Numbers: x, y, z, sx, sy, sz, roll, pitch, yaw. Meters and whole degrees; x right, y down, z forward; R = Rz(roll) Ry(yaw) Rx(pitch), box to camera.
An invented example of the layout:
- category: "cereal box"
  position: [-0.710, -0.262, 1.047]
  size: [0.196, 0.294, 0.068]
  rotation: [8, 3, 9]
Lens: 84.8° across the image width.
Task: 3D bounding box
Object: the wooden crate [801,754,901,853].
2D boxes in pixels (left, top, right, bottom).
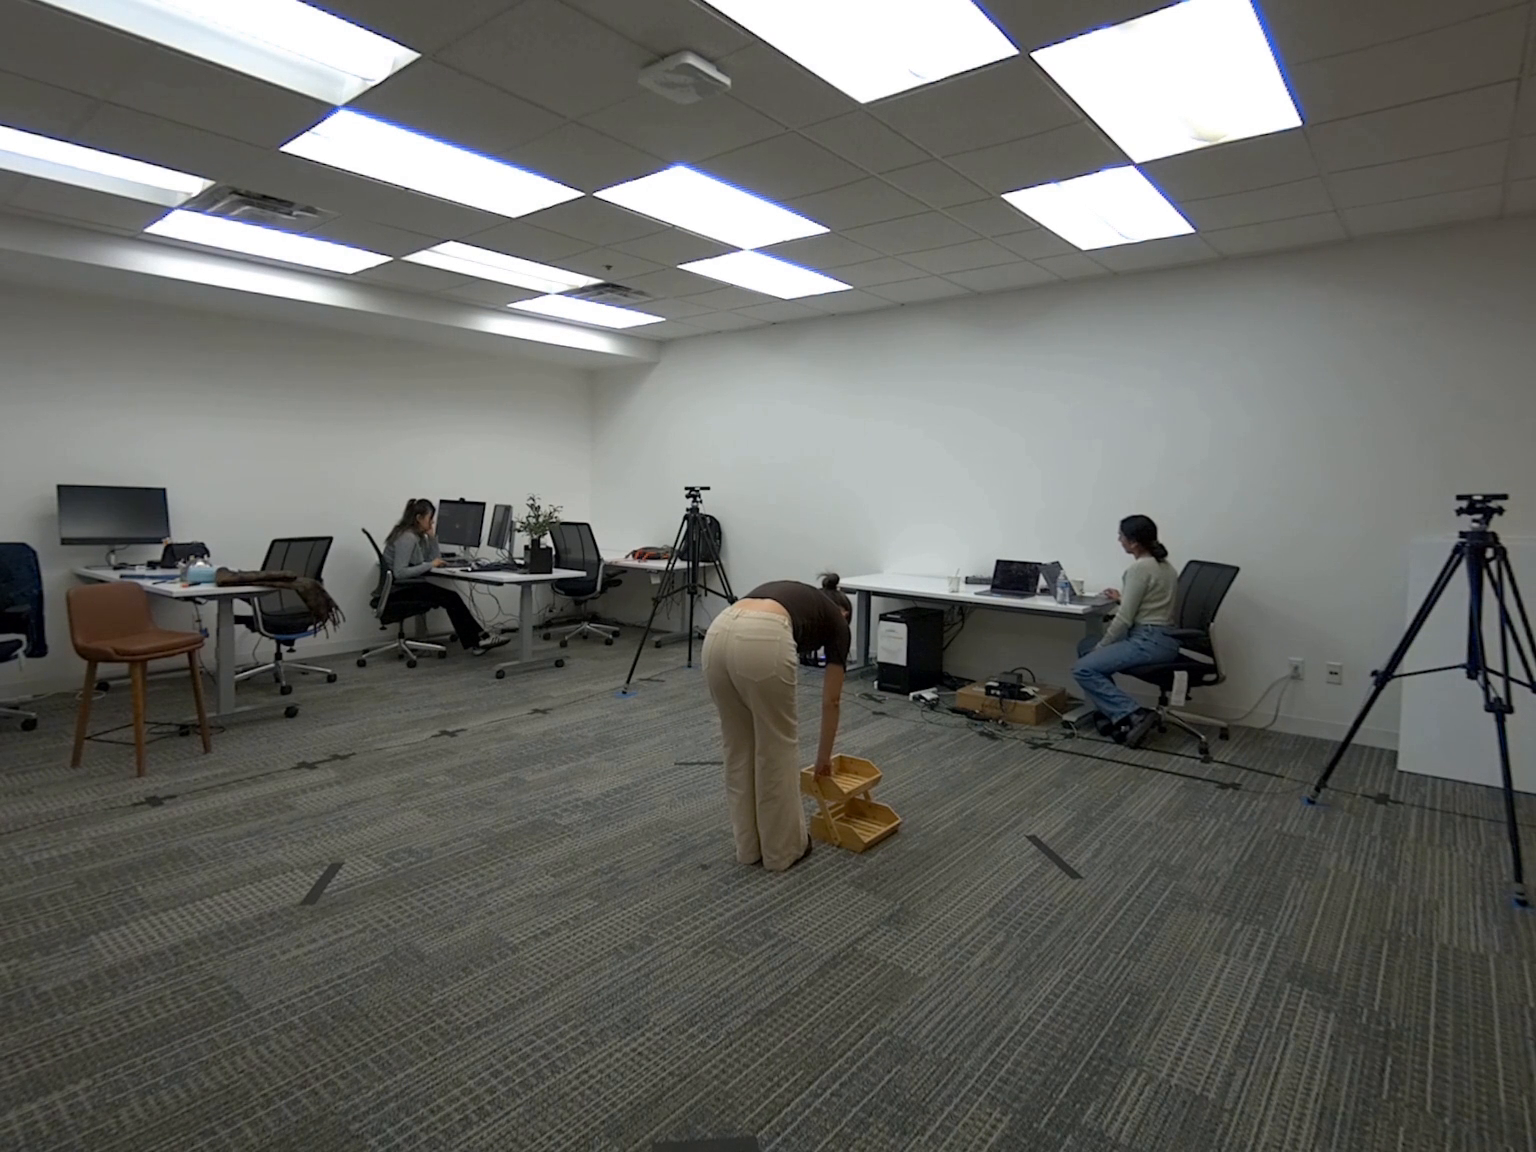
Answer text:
- category: "wooden crate"
  position: [0.332, 0.904, 3.450]
  size: [0.312, 0.272, 0.315]
  rotation: [3, 5, 38]
